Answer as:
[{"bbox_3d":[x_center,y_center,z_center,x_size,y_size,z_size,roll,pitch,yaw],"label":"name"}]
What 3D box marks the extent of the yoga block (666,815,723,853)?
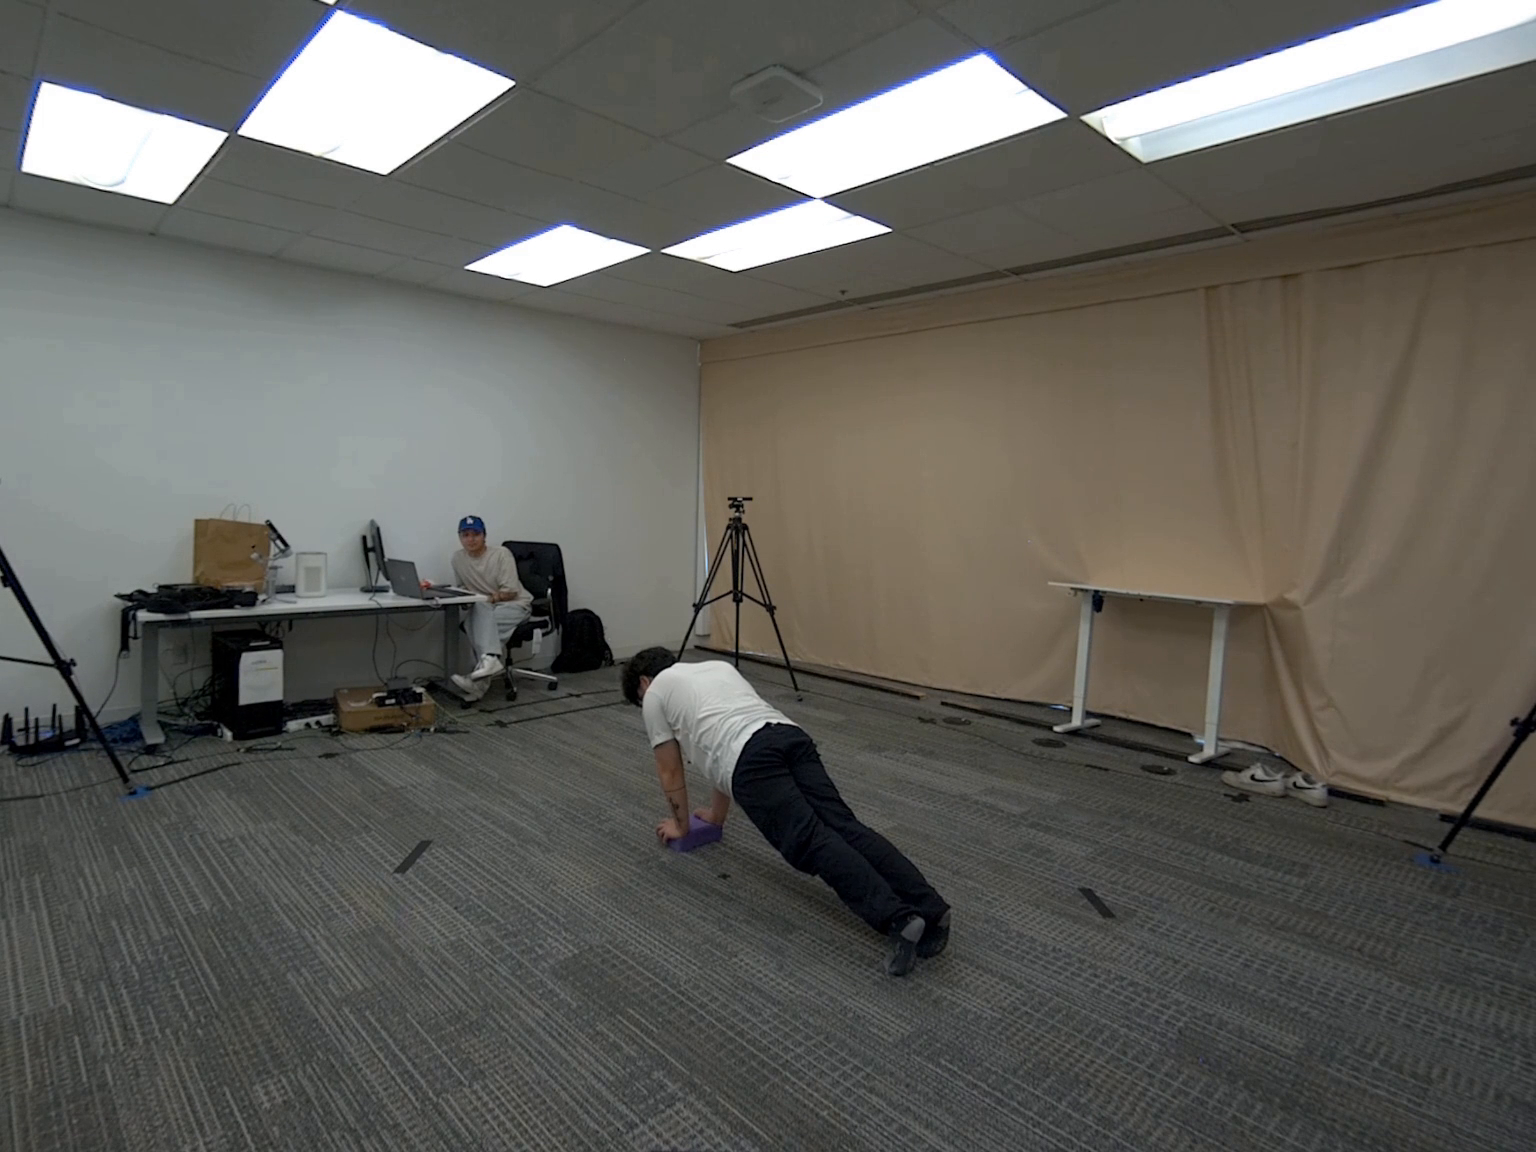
[{"bbox_3d":[-0.323,1.043,3.422,0.224,0.076,0.153,-4,8,-45],"label":"yoga block"}]
